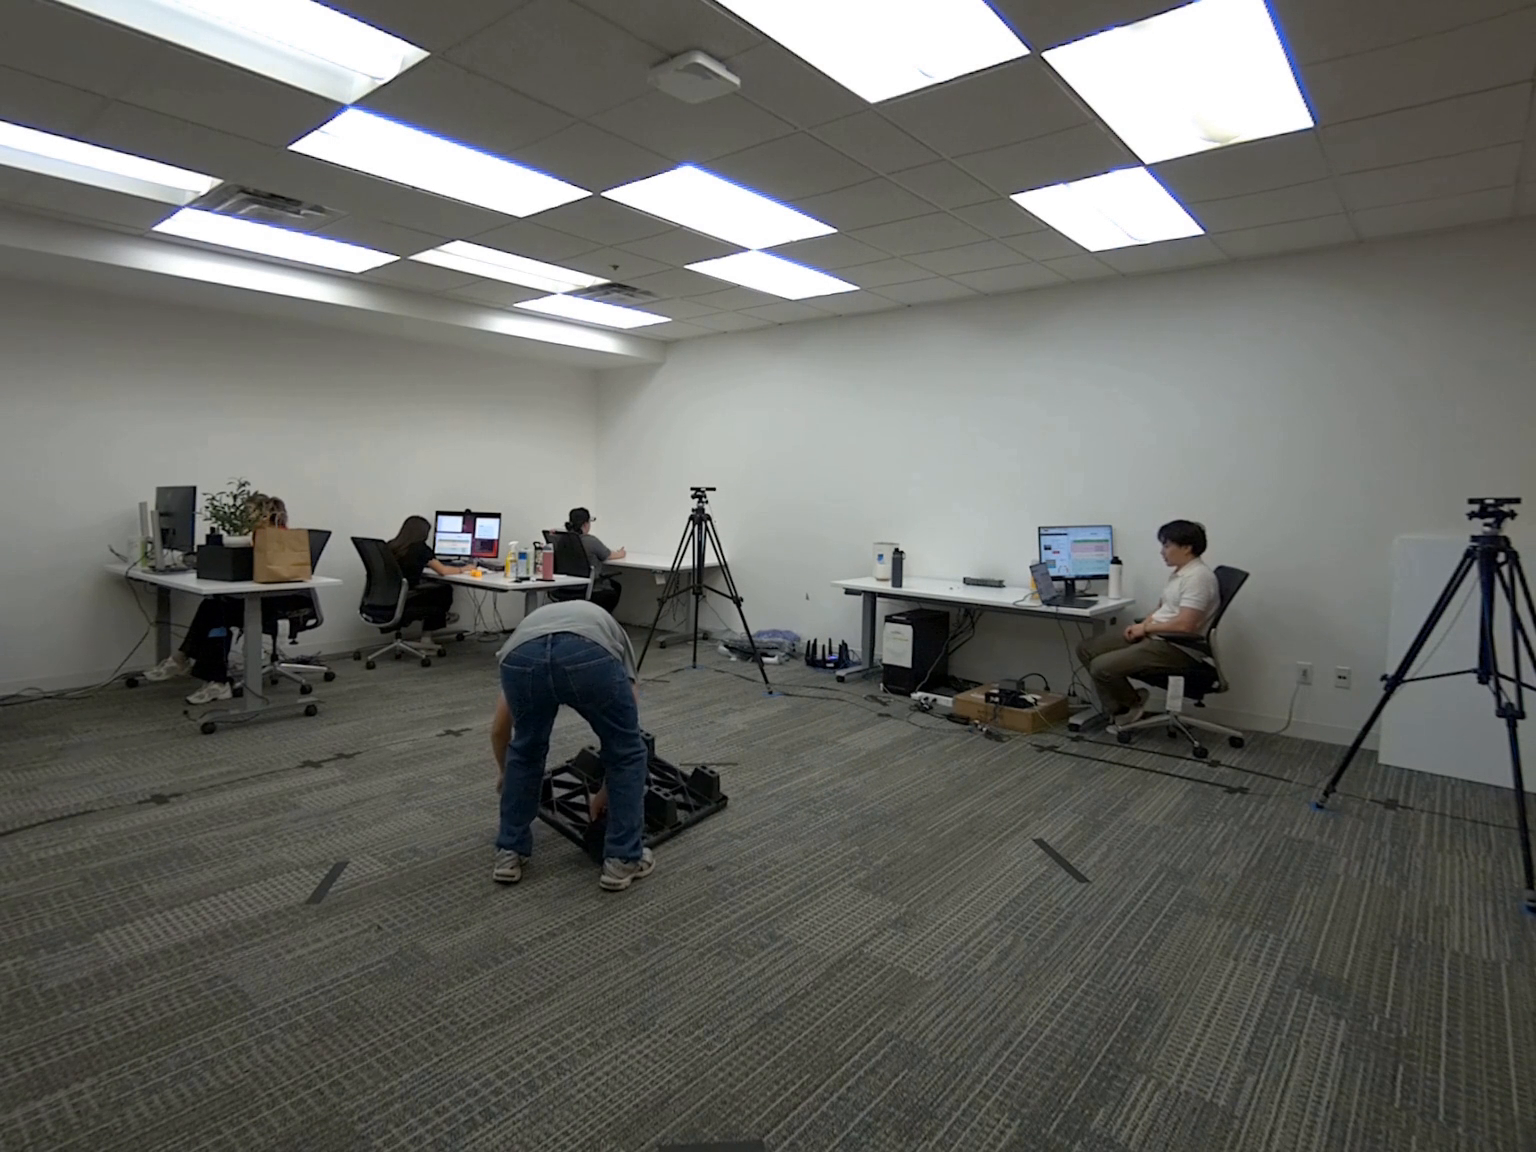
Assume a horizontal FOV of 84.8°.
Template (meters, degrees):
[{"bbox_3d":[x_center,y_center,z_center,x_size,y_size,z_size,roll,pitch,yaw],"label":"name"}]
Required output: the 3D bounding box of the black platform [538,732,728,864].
[{"bbox_3d":[-0.606,0.869,3.540,0.626,0.142,0.785,22,15,28],"label":"black platform"}]
